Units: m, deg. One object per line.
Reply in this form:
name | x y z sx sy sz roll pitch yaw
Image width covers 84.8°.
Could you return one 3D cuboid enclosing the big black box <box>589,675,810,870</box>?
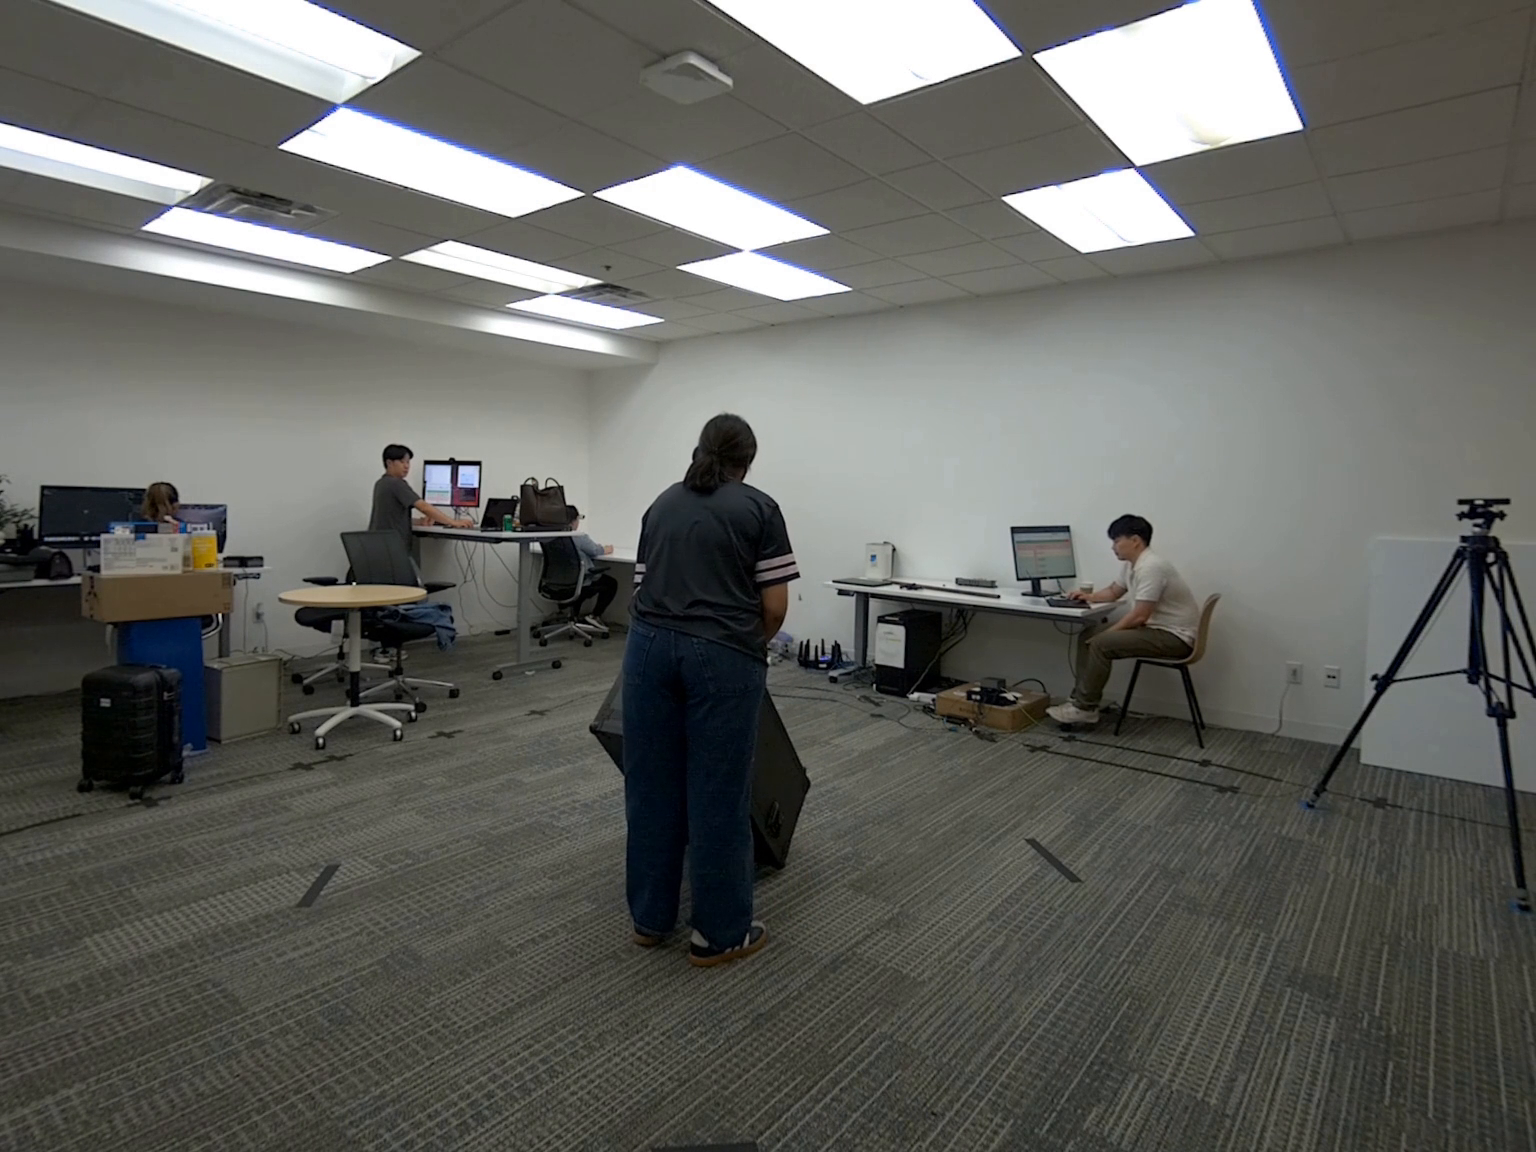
big black box | -0.219 0.672 3.091 0.537 0.836 0.390 2 46 26
